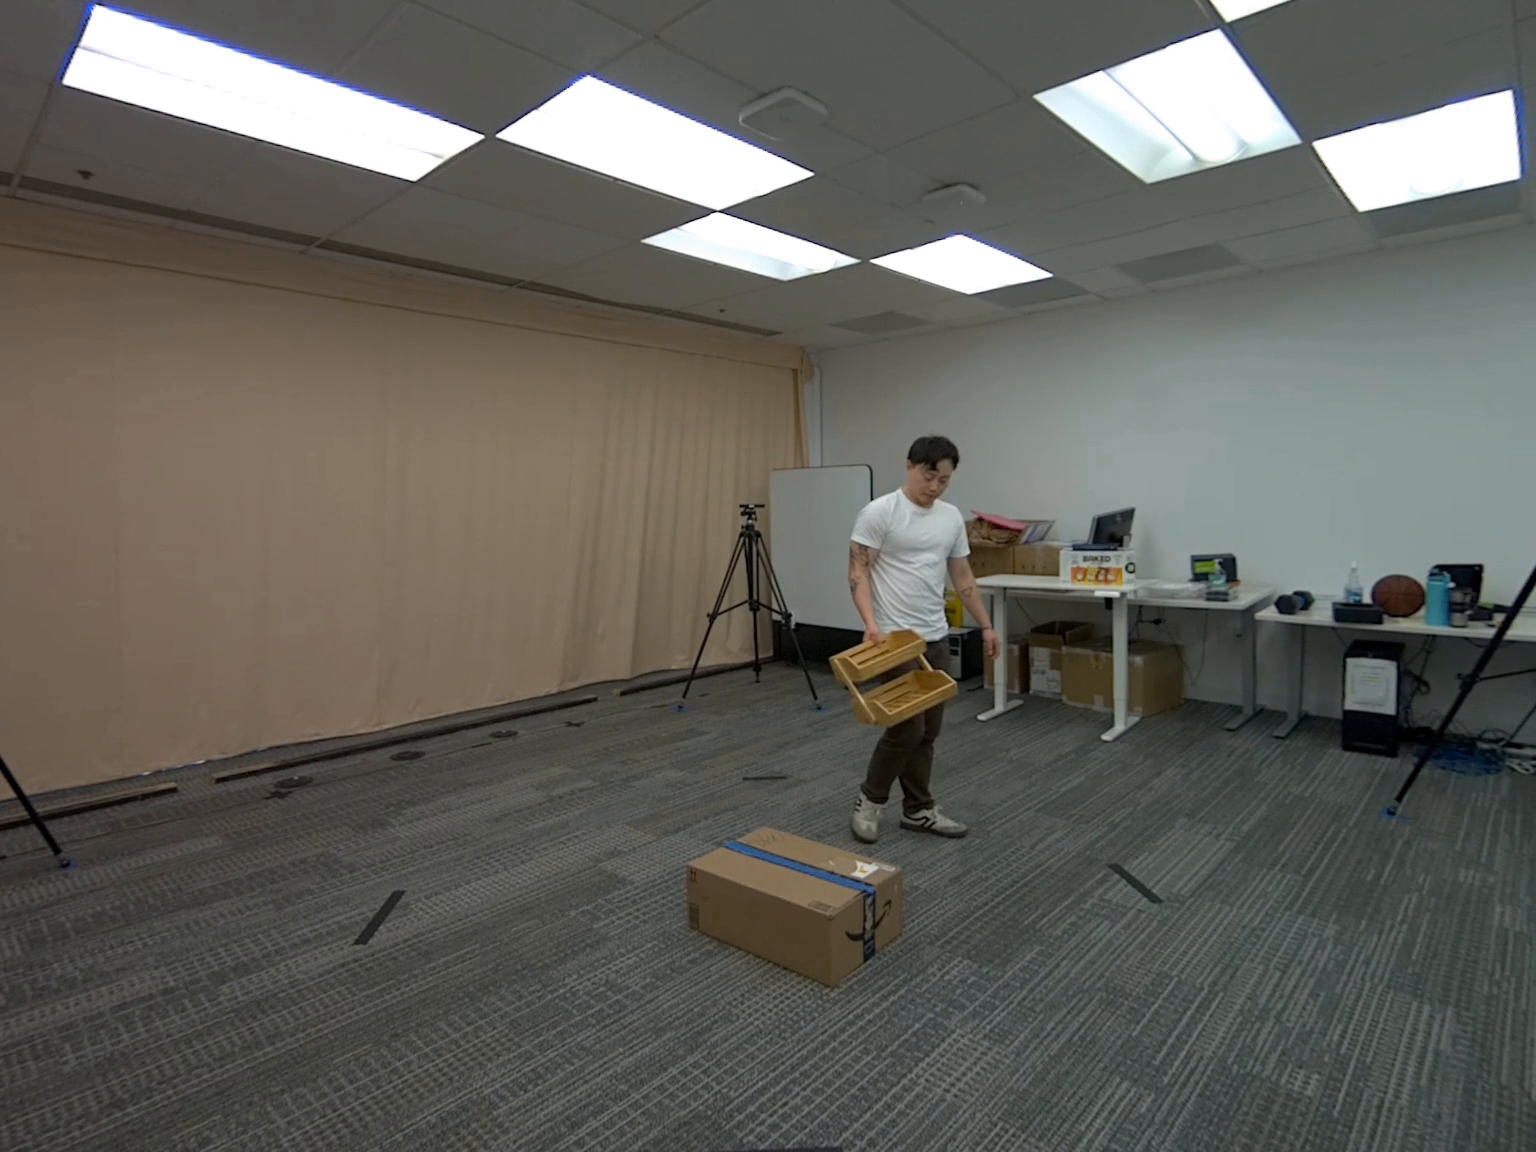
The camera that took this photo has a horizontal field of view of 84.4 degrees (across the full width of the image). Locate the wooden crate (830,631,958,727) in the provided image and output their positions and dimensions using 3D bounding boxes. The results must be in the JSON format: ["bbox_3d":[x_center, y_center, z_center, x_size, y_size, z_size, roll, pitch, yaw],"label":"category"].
[{"bbox_3d":[0.462,0.370,3.110,0.319,0.274,0.306,-19,-1,-20],"label":"wooden crate"}]
